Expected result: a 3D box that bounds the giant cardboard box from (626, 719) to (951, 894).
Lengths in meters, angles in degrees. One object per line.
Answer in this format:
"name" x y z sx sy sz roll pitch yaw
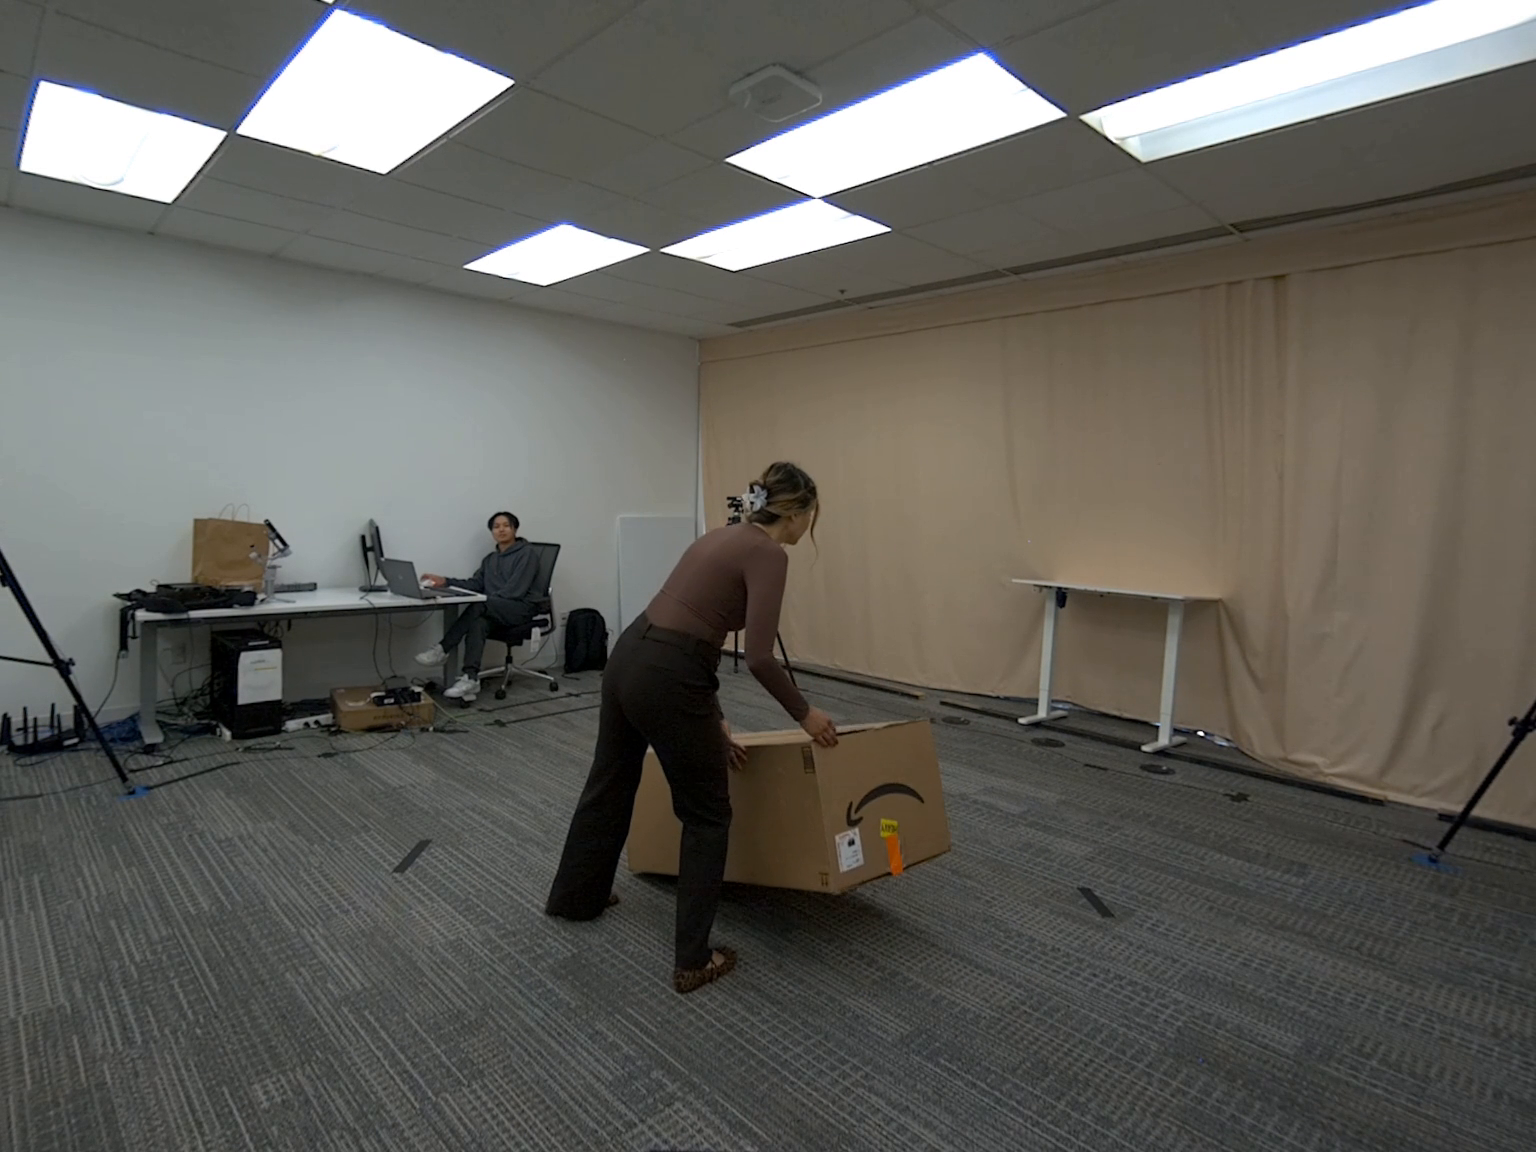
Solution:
"giant cardboard box" 0.013 0.782 2.943 0.570 0.450 1.044 2 -12 -42
